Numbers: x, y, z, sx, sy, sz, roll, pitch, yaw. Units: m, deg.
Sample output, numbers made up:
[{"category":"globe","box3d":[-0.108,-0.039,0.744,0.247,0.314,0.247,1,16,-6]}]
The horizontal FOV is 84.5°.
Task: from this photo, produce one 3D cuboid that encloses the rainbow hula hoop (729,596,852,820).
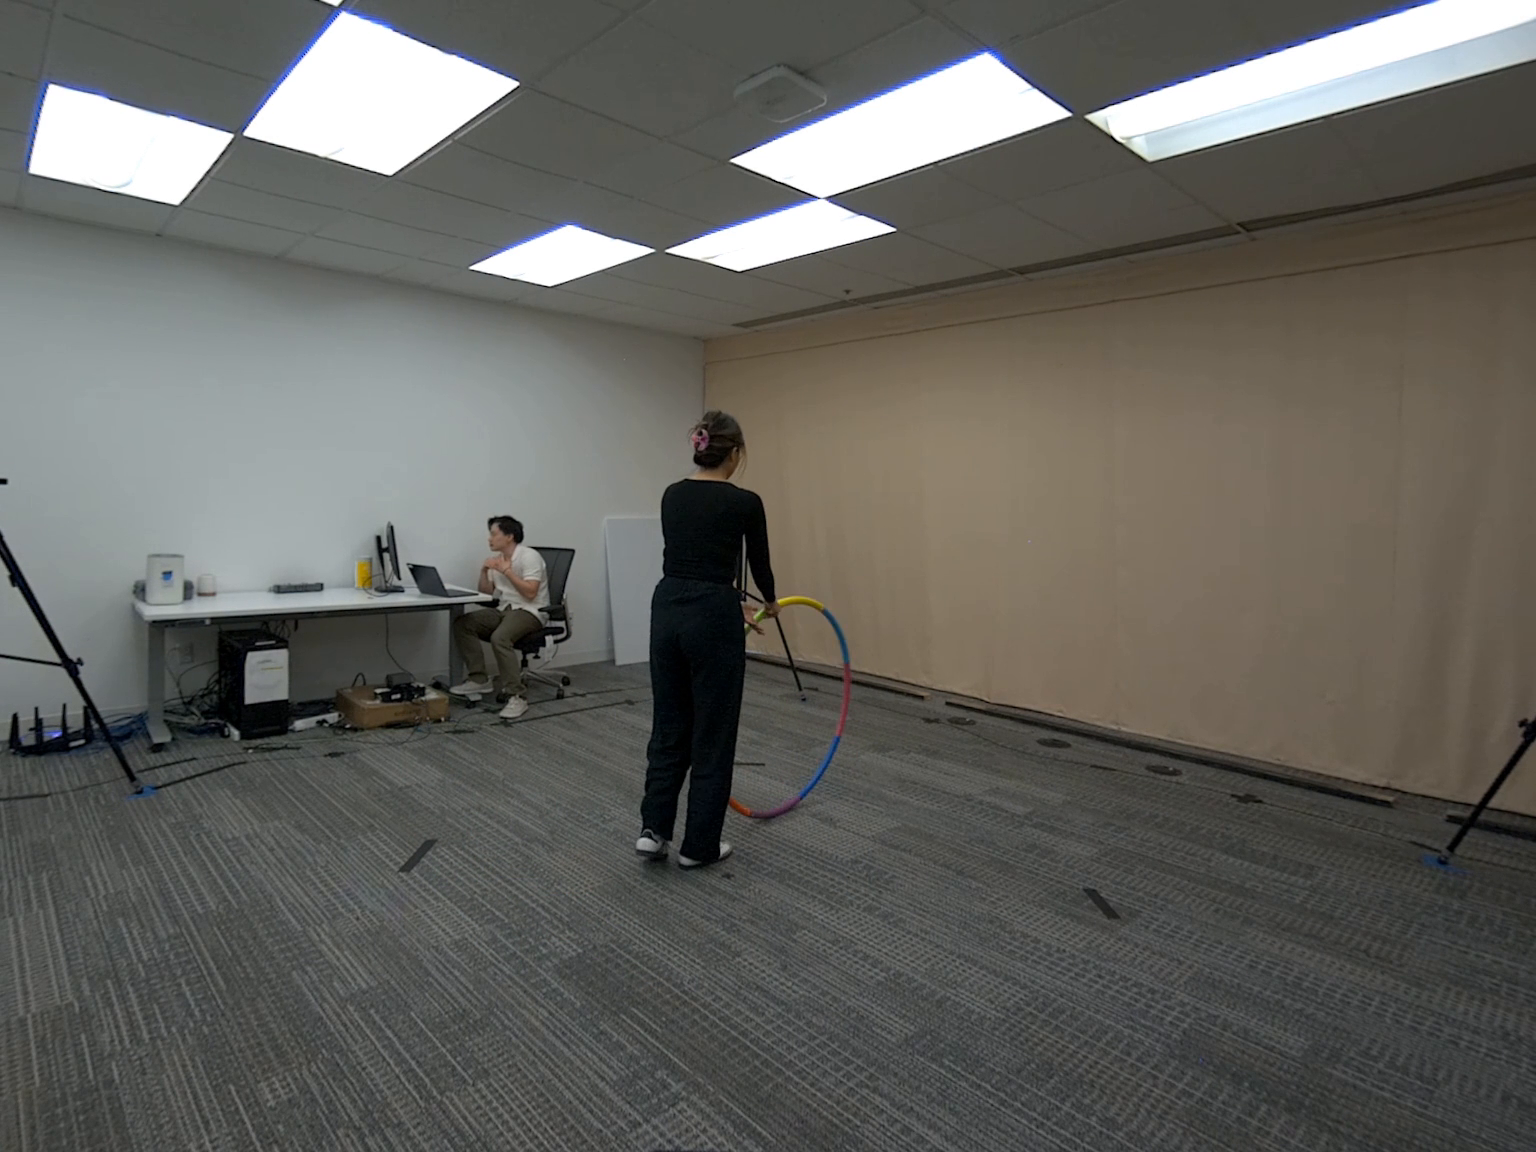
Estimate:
[{"category":"rainbow hula hoop","box3d":[0.068,0.579,3.704,0.036,0.975,0.957,7,7,39]}]
